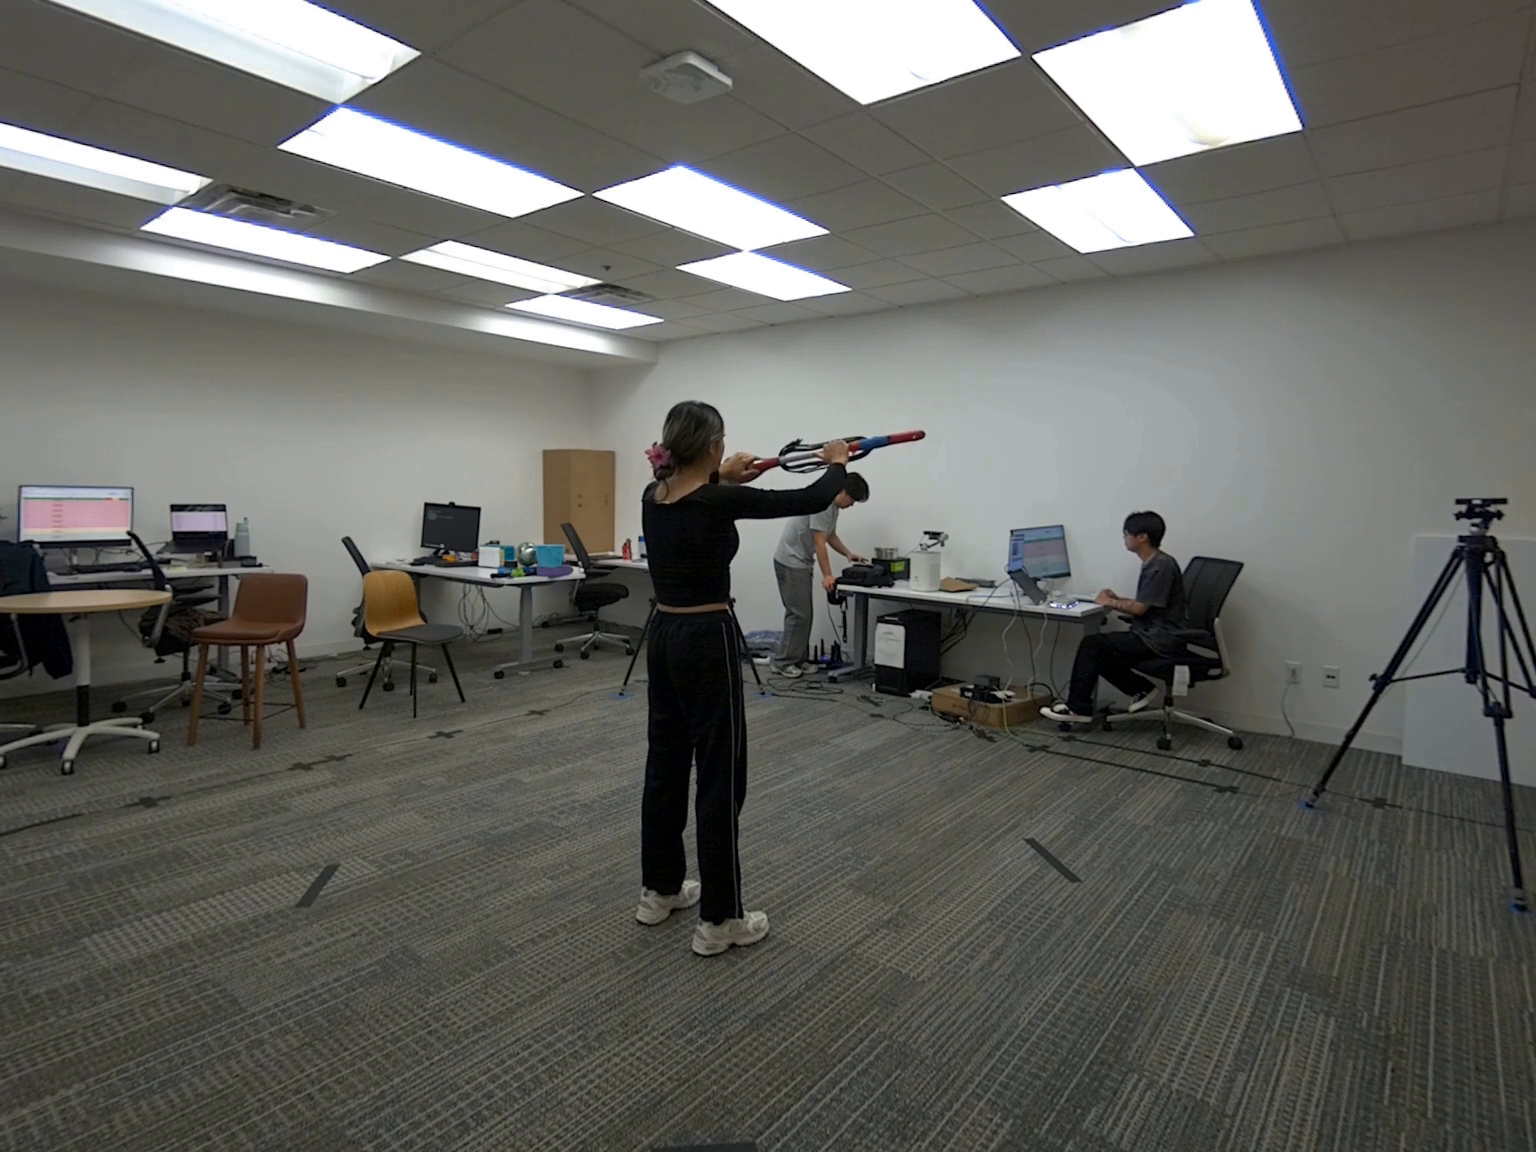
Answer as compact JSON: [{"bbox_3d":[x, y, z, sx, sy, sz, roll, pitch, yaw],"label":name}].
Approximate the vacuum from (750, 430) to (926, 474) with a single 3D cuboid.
[{"bbox_3d":[0.061,-0.405,2.999,1.079,0.252,0.140,-5,4,41],"label":"vacuum"}]
